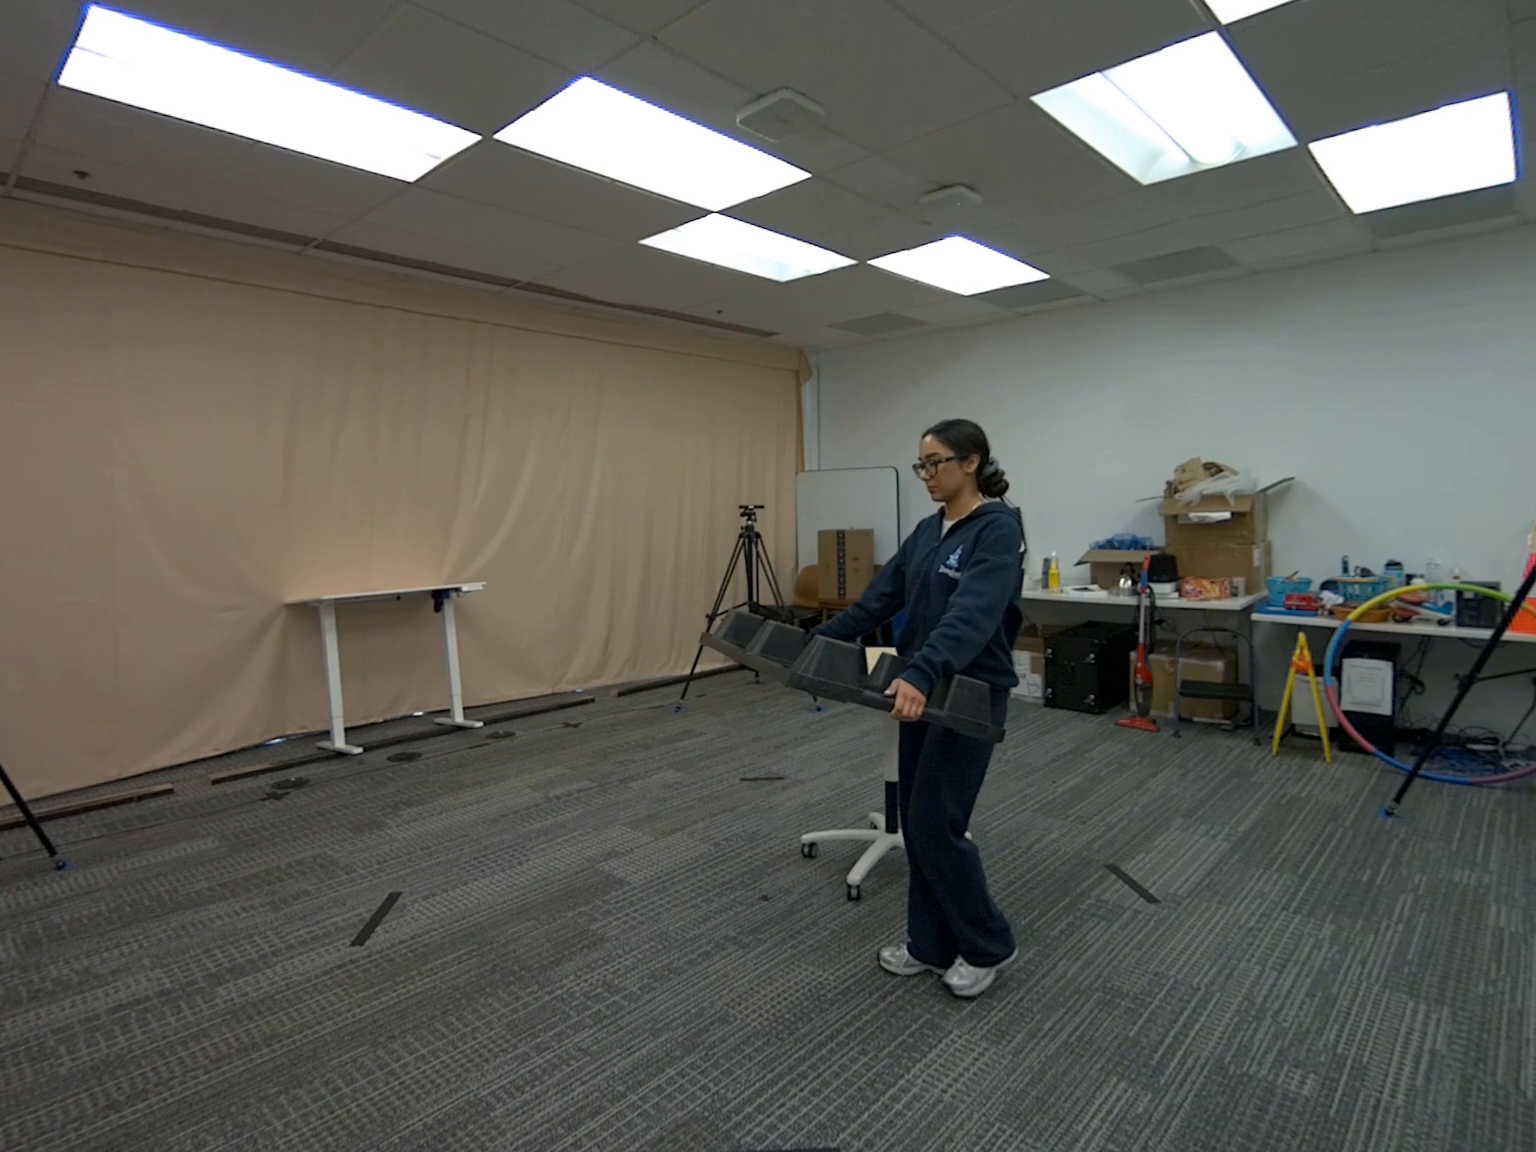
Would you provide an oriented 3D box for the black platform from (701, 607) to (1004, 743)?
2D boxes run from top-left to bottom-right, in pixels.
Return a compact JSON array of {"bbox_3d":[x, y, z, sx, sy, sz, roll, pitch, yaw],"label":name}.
[{"bbox_3d":[0.190,0.255,2.378,0.593,0.143,0.822,18,-3,-19],"label":"black platform"}]
